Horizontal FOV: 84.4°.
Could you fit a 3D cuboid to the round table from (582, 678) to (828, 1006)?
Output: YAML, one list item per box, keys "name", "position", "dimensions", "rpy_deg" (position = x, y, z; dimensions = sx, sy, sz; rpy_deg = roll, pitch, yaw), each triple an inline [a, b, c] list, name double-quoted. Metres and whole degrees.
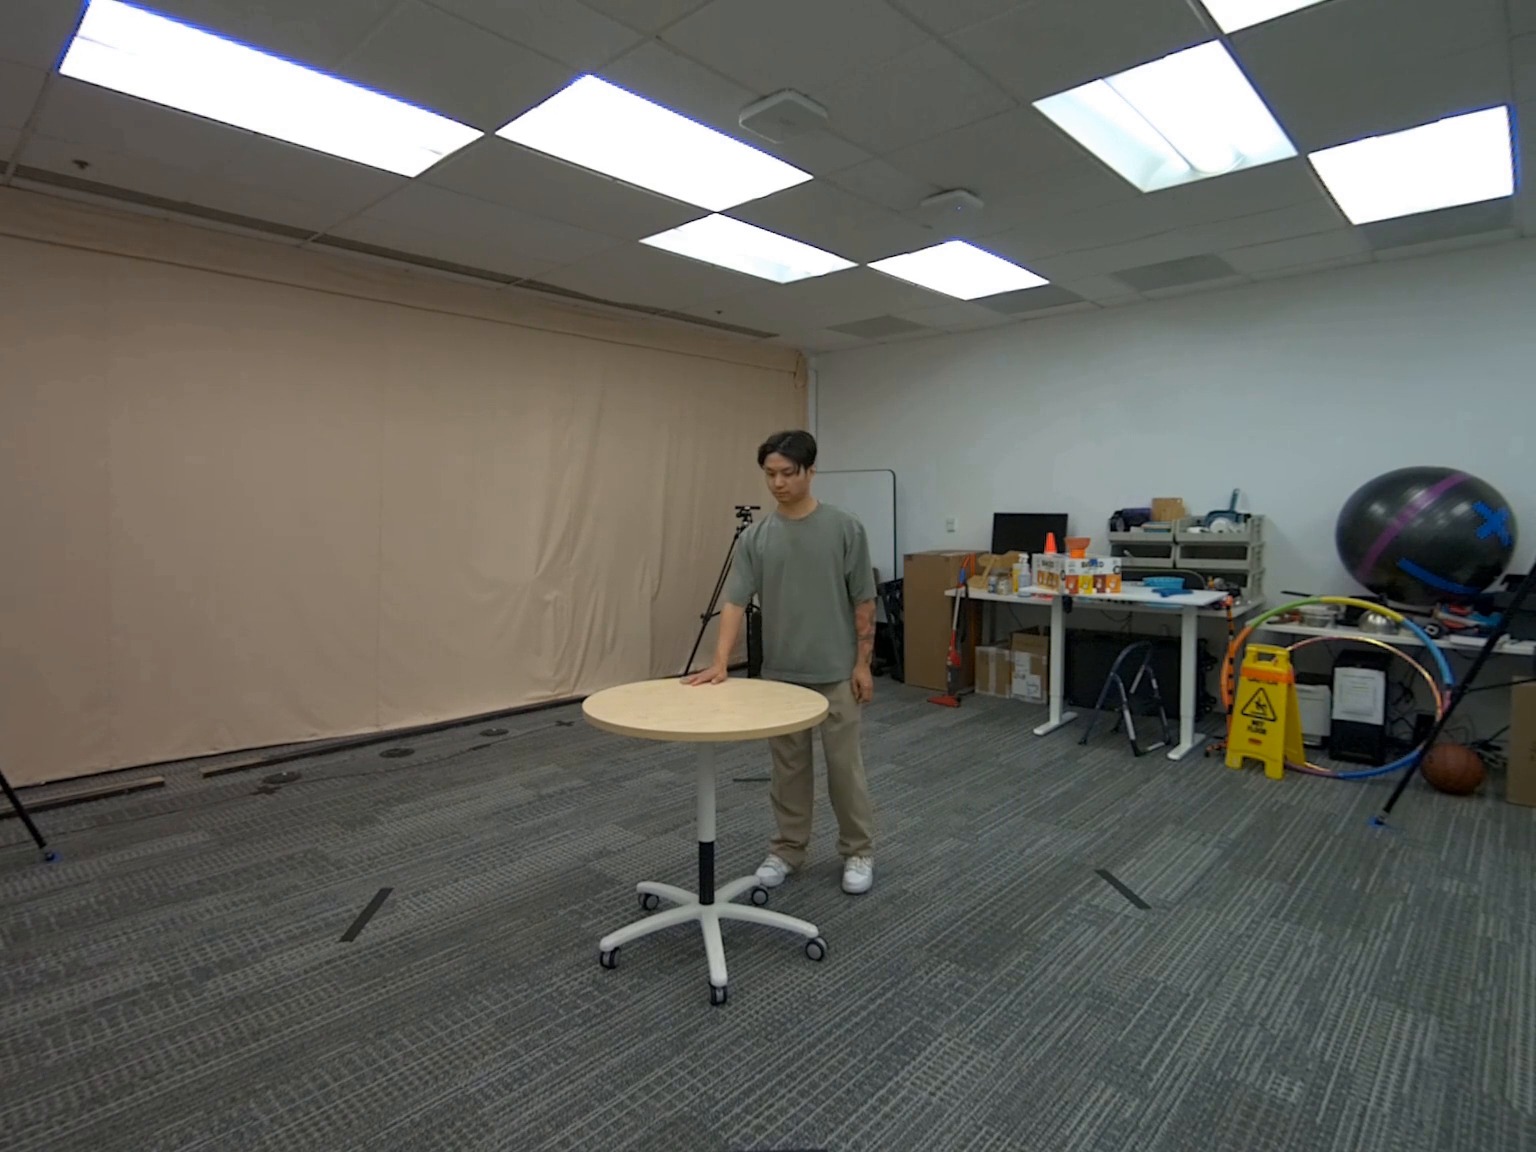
- name: "round table"
  position: [-0.193, 0.785, 2.646]
  dimensions: [0.763, 0.792, 0.766]
  rpy_deg: [0, 3, -2]
